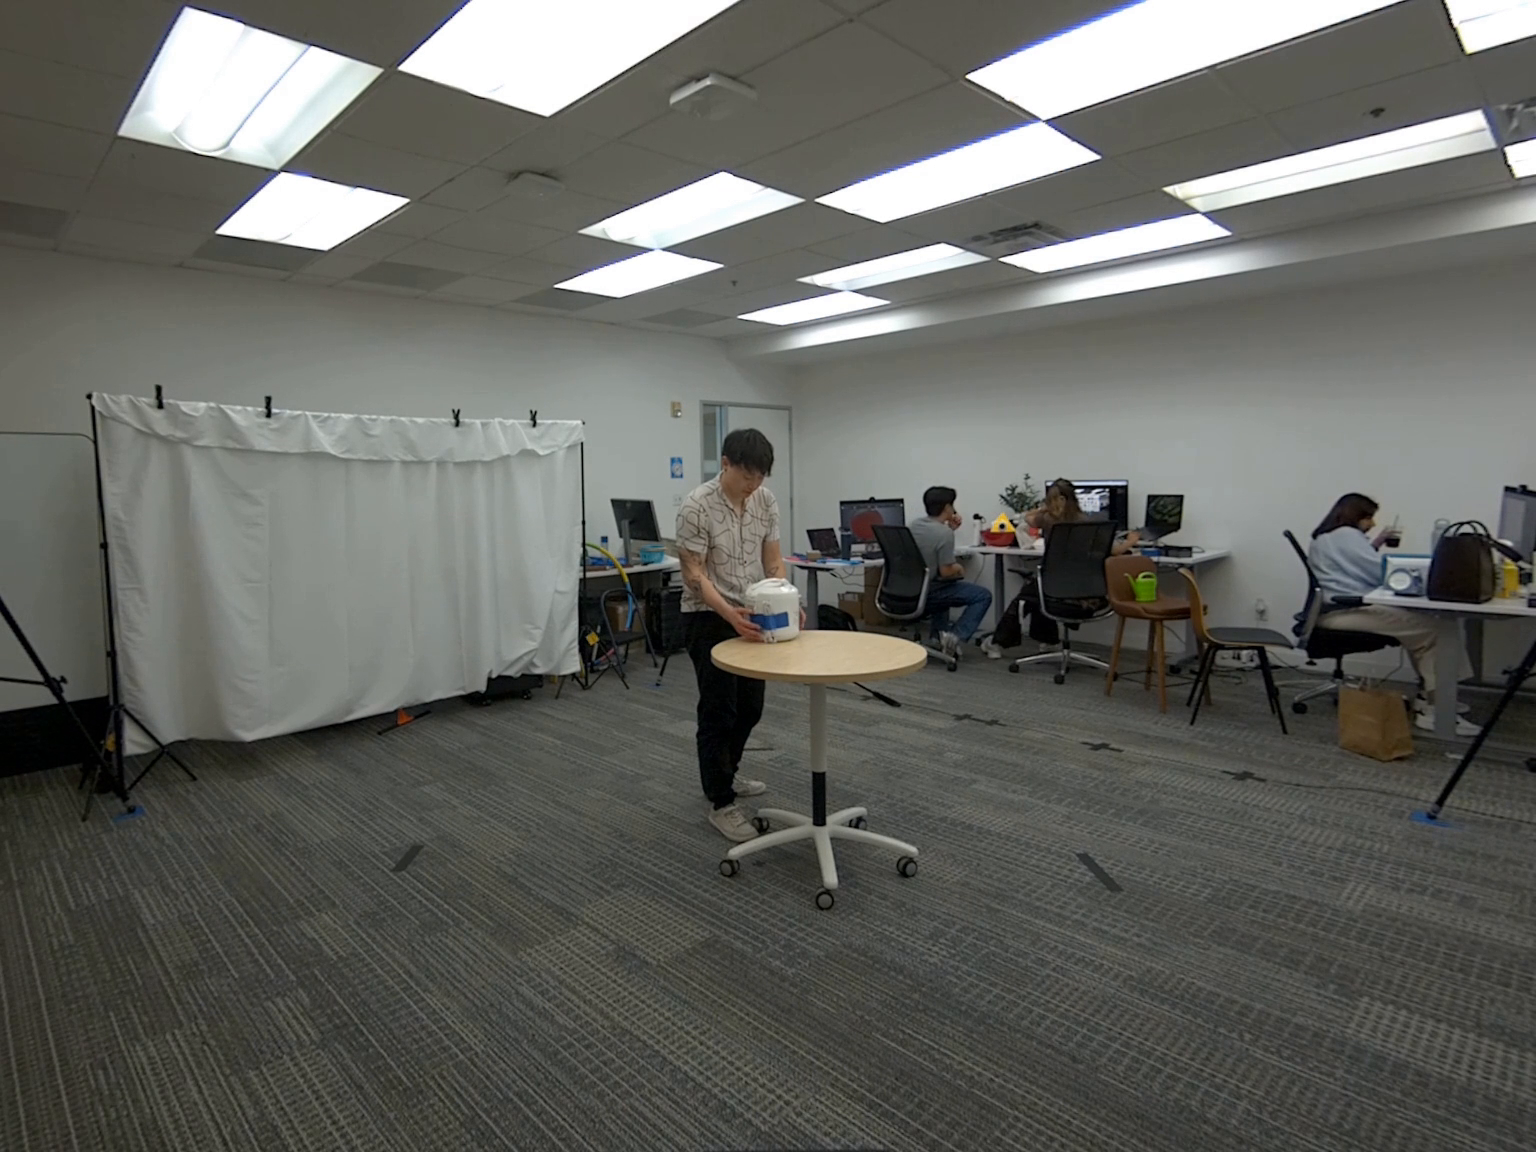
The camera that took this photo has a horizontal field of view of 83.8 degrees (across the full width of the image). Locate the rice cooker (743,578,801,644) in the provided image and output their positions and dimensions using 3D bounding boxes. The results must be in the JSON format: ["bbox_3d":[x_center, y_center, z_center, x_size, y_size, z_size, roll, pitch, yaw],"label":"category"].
[{"bbox_3d":[0.016,0.129,3.289,0.215,0.232,0.224,-4,7,-37],"label":"rice cooker"}]
